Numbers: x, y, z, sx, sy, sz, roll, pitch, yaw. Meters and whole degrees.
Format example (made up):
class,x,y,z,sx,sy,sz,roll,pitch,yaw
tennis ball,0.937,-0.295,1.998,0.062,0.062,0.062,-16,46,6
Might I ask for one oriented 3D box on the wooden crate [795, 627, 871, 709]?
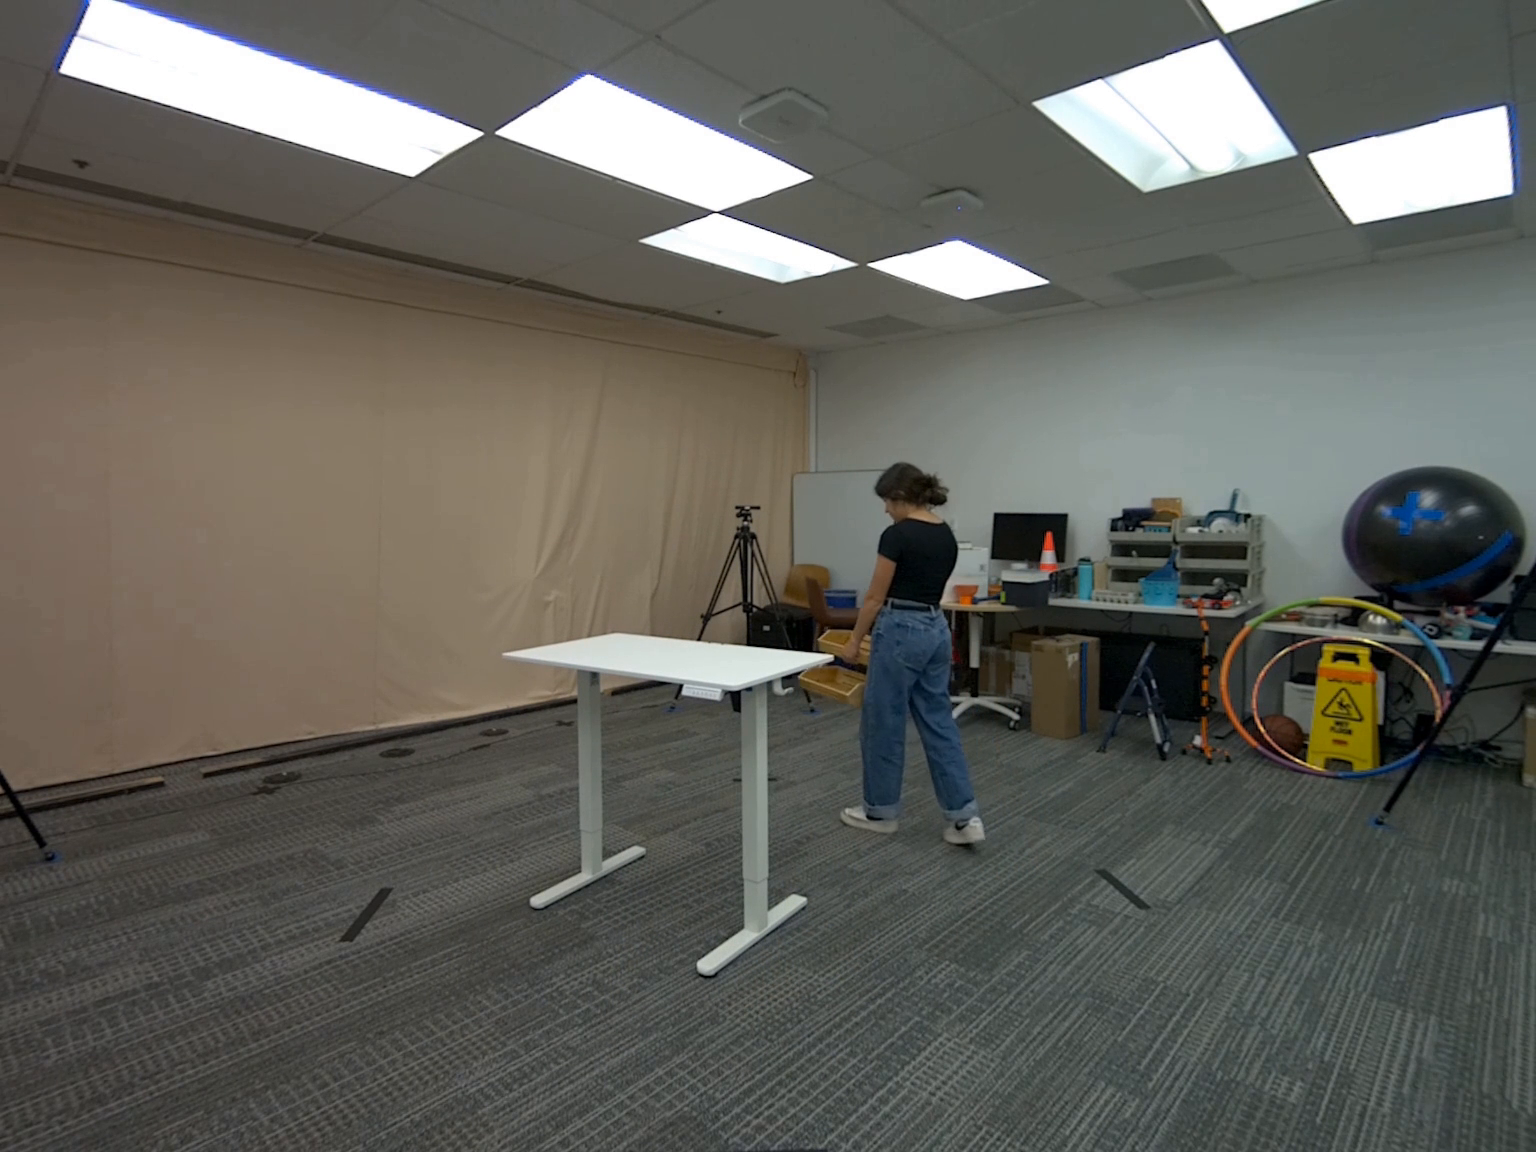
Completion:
class,x,y,z,sx,sy,sz,roll,pitch,yaw
wooden crate,0.360,0.394,3.710,0.292,0.273,0.336,6,5,-42
